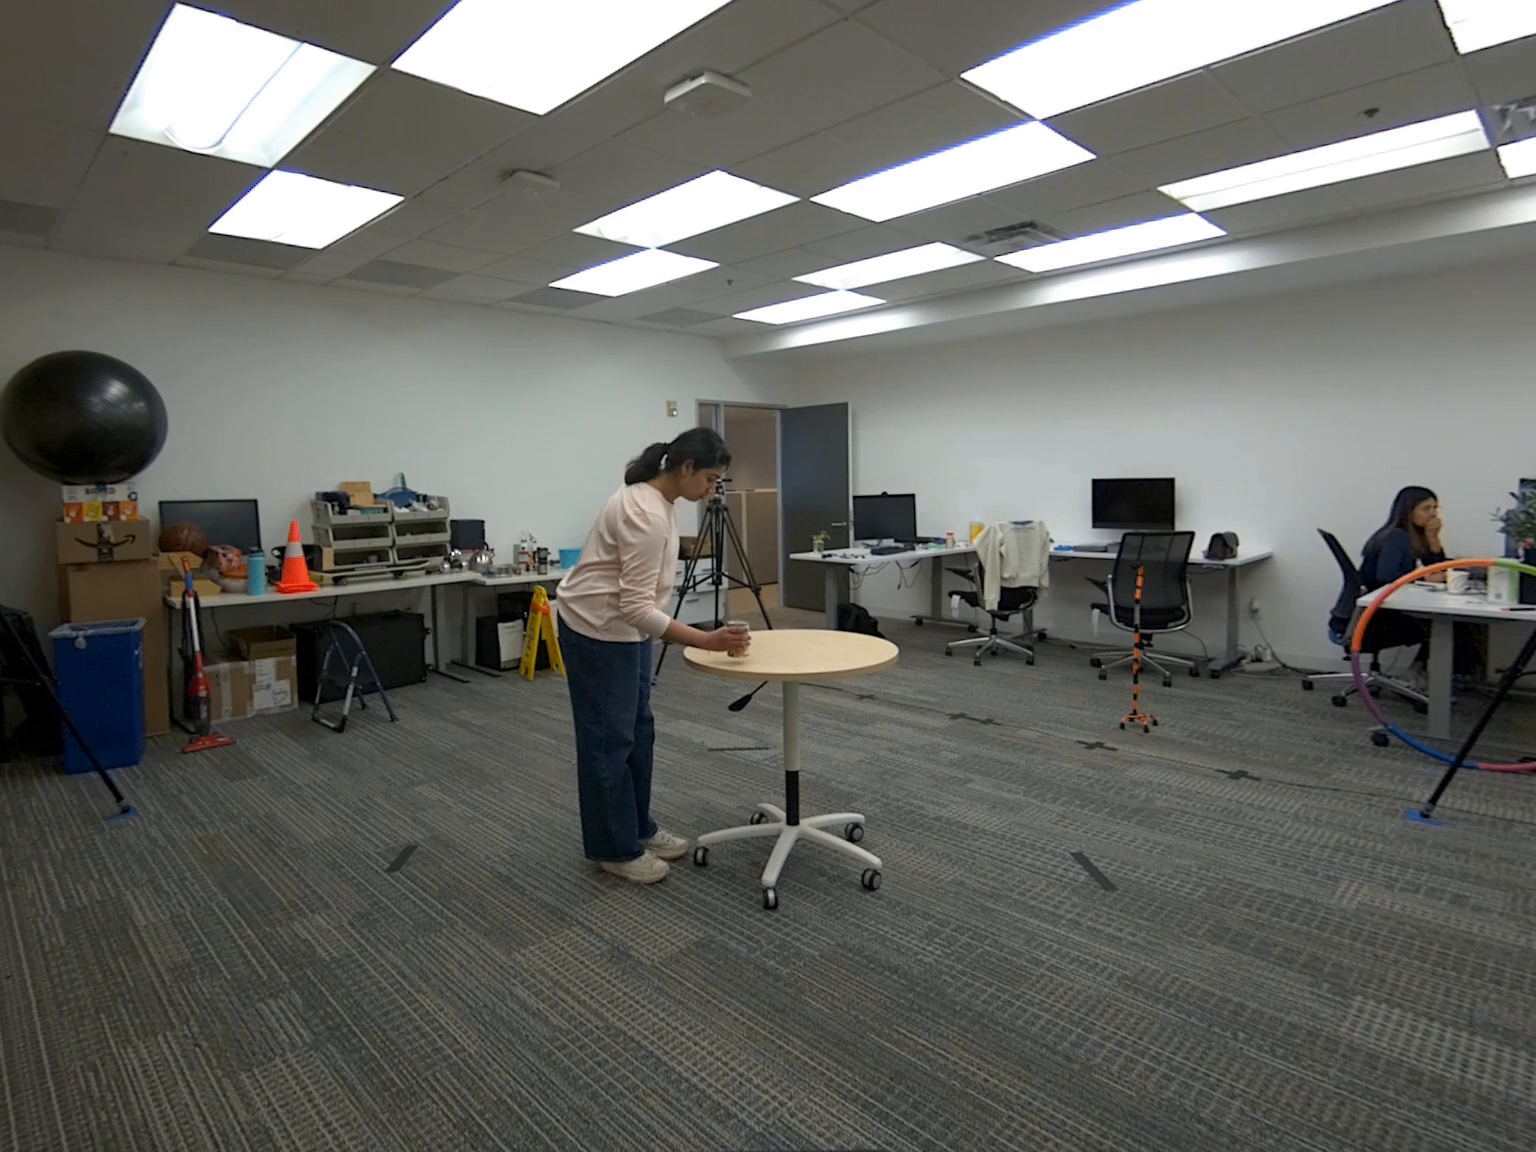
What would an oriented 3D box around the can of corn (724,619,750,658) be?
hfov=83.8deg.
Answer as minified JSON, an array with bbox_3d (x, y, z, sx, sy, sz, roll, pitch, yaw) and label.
[{"bbox_3d":[-0.101,0.208,2.851,0.074,0.111,0.074,-1,4,-2],"label":"can of corn"}]
